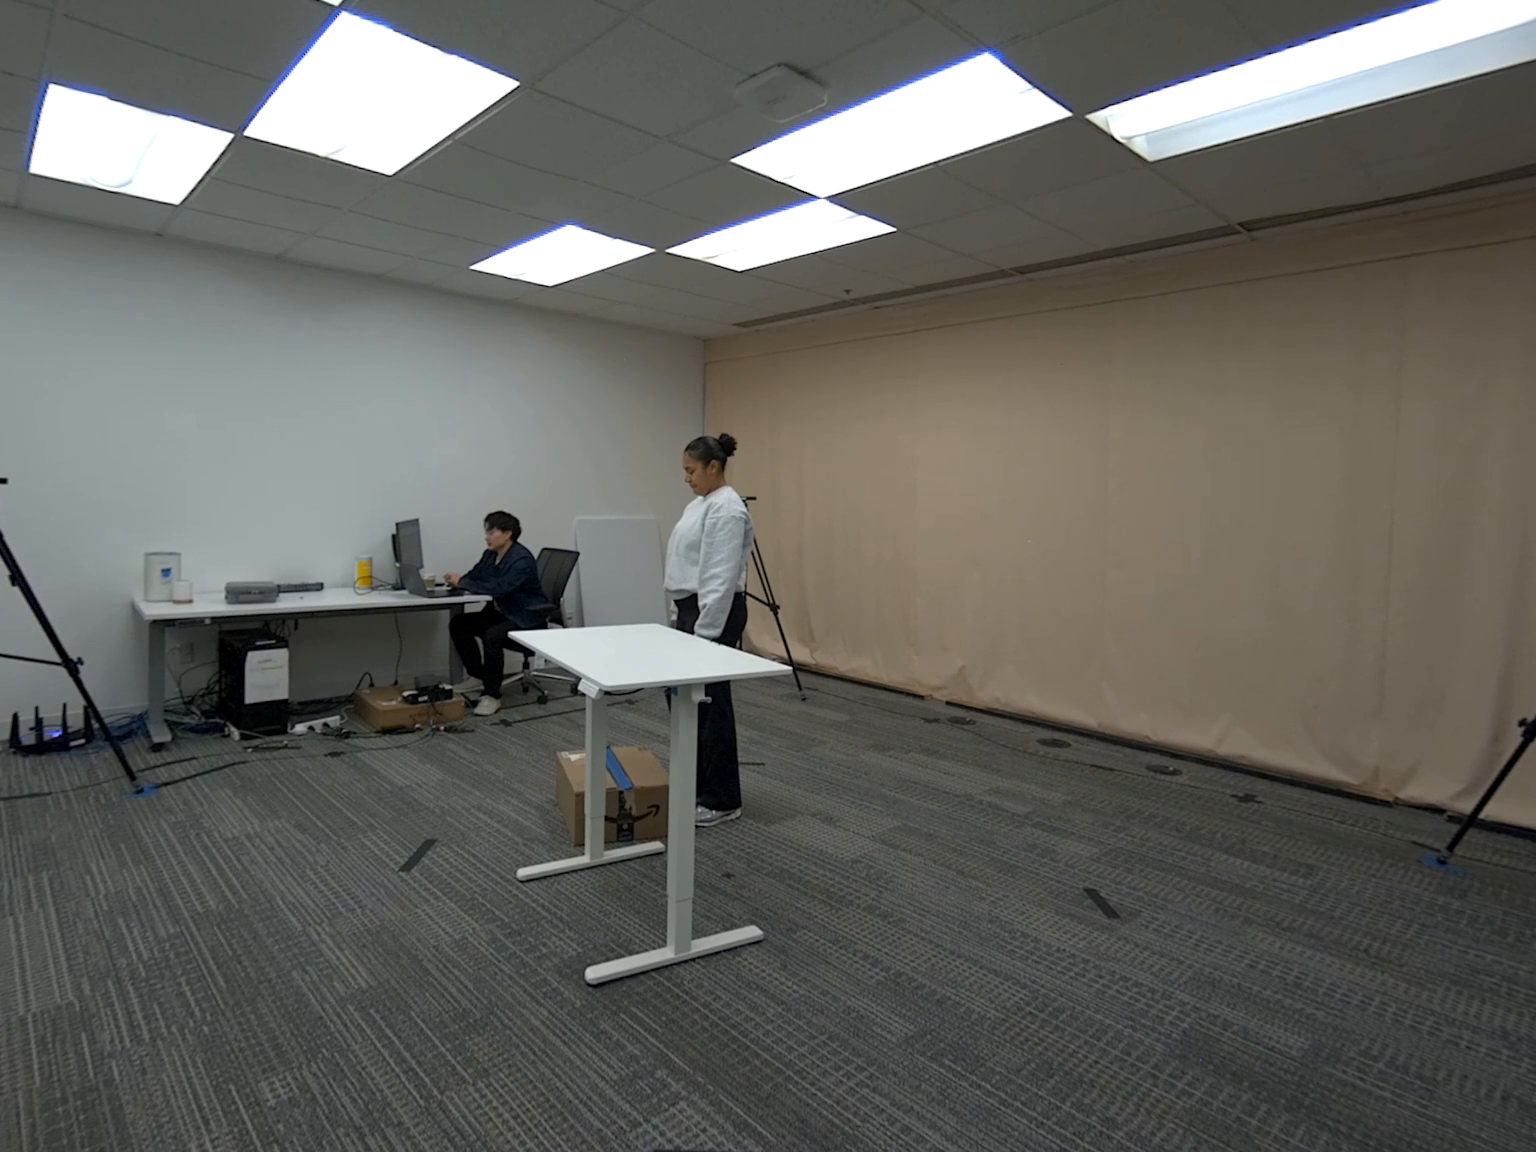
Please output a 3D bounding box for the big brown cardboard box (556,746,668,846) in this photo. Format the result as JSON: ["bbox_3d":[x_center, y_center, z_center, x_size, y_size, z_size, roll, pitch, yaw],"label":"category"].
[{"bbox_3d":[-0.683,0.935,3.654,0.411,0.232,0.600,0,6,-21],"label":"big brown cardboard box"}]
